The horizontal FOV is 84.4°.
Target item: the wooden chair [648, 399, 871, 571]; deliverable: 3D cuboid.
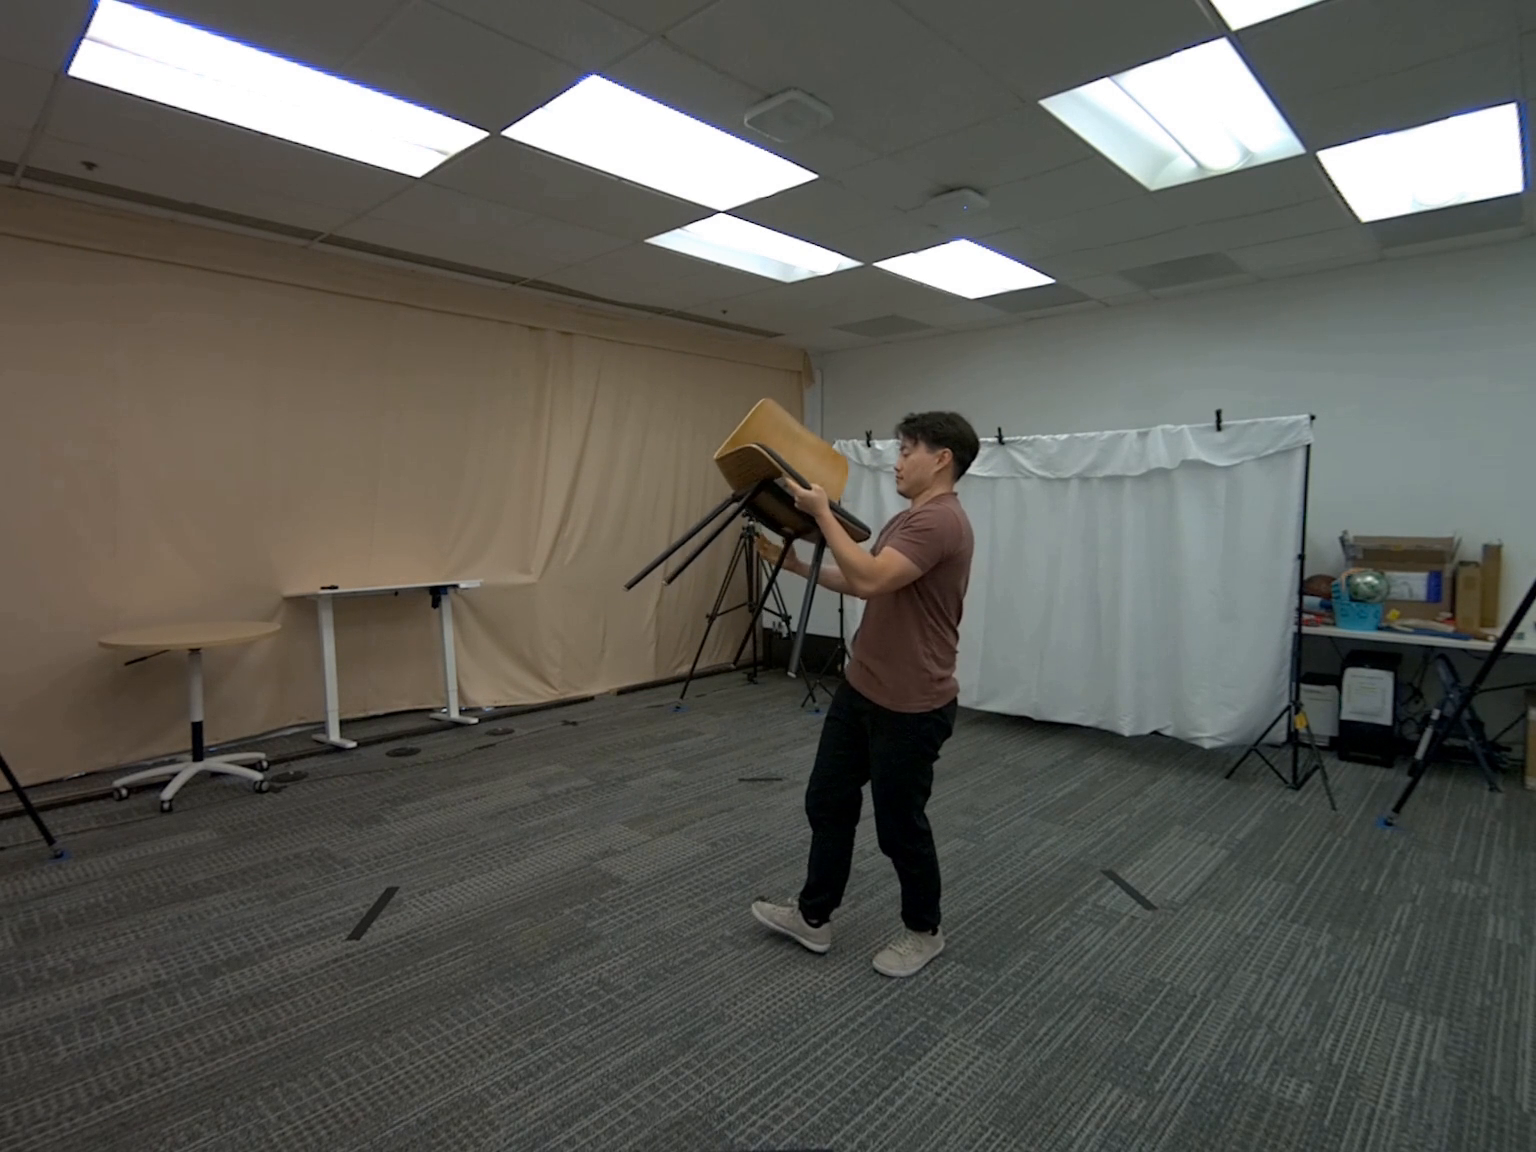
[{"bbox_3d":[0.024,-0.168,2.563,0.470,0.877,0.533,37,-20,-15],"label":"wooden chair"}]
